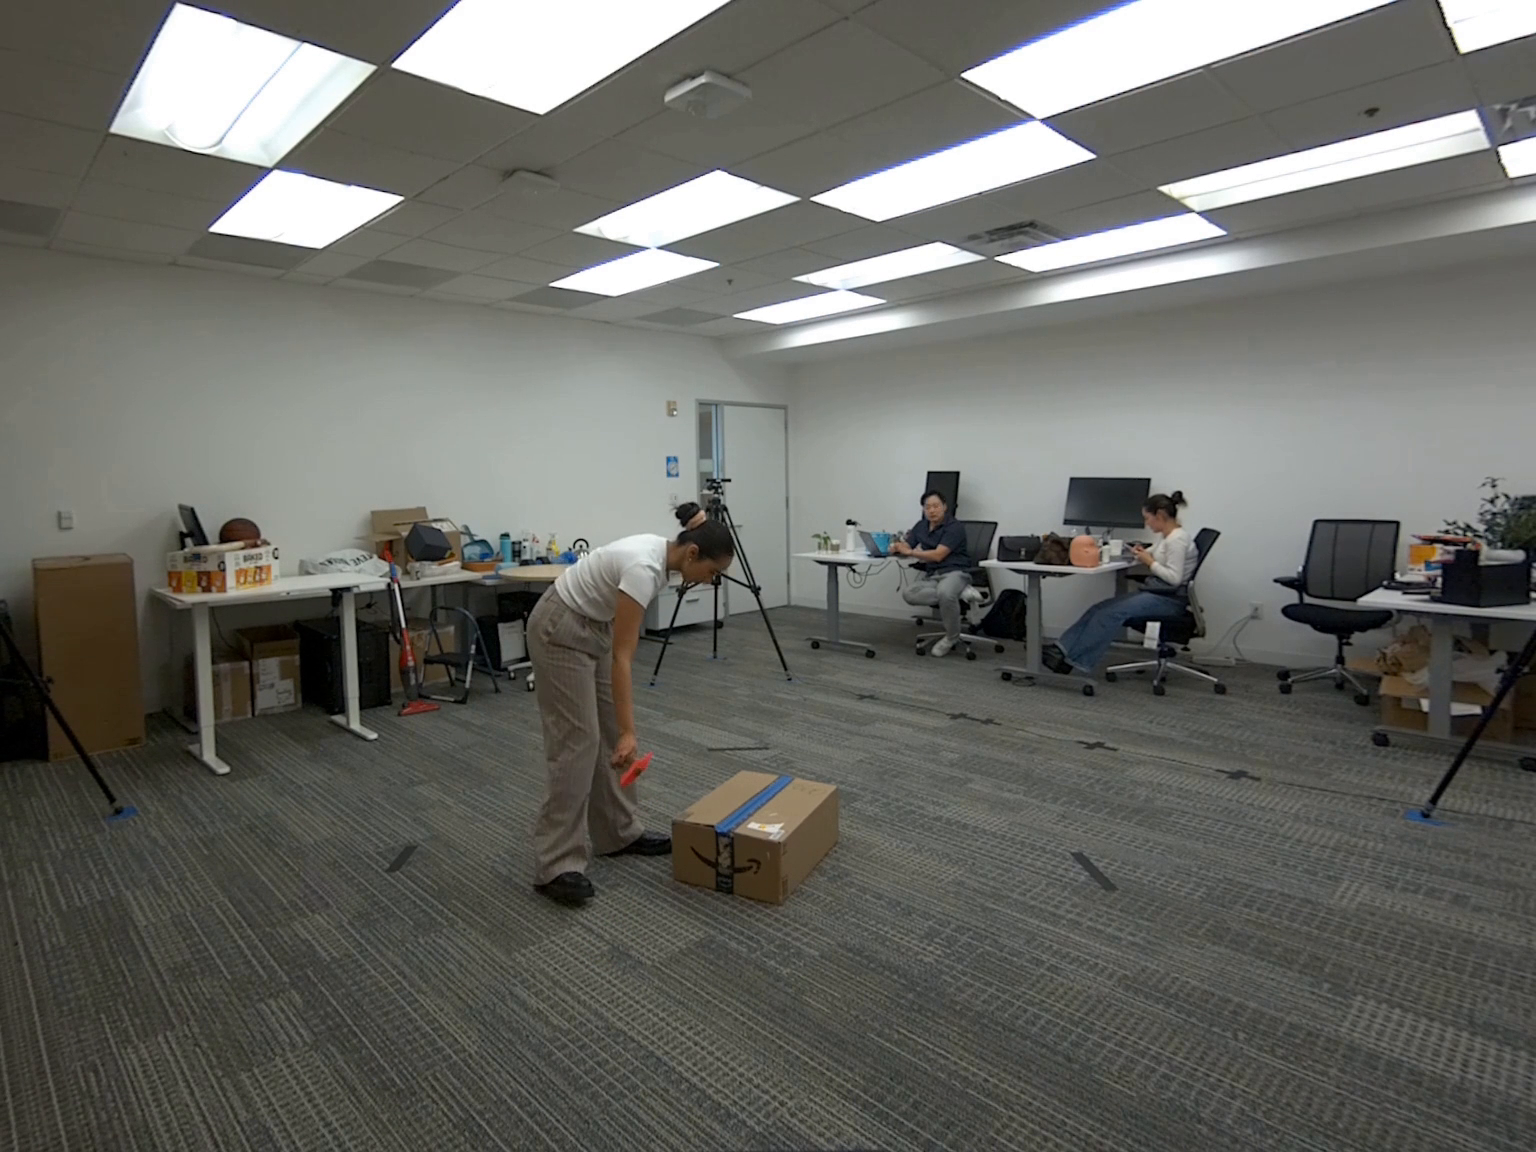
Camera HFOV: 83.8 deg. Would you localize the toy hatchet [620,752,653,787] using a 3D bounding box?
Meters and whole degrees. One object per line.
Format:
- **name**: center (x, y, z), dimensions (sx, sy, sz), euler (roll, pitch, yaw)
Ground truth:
- **toy hatchet**: center (-0.428, 0.612, 2.640), dimensions (0.131, 0.029, 0.273), euler (-50, 13, -28)
